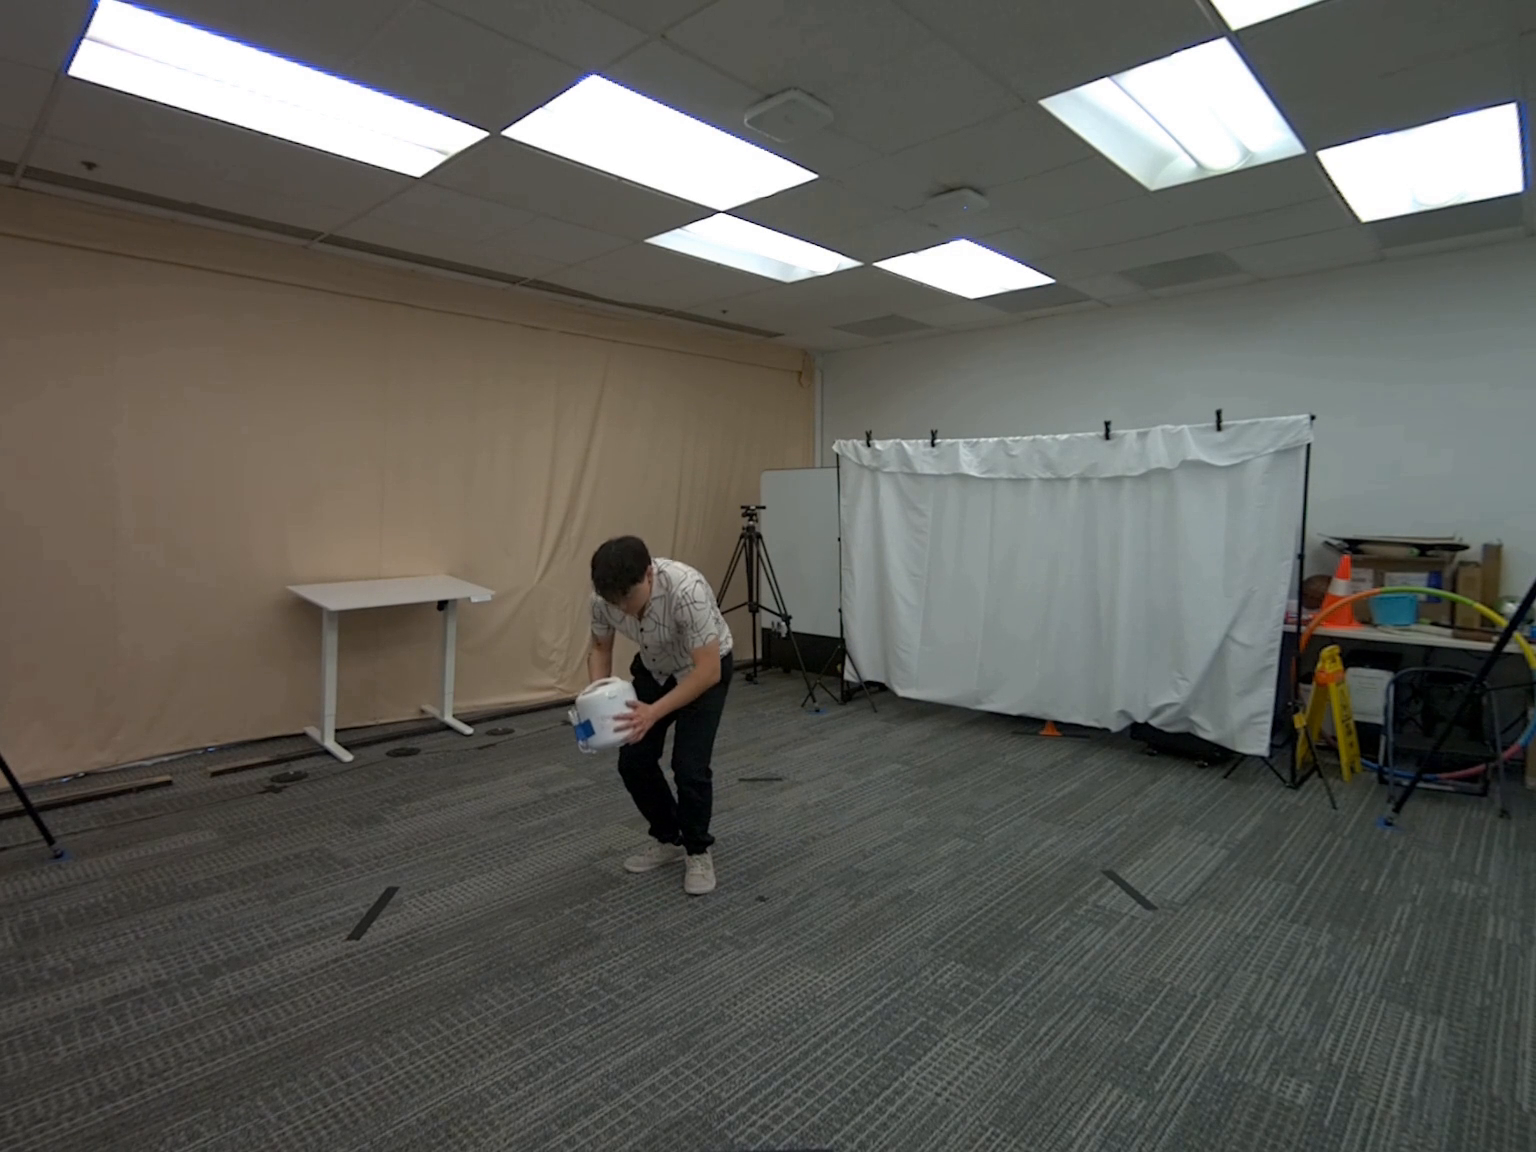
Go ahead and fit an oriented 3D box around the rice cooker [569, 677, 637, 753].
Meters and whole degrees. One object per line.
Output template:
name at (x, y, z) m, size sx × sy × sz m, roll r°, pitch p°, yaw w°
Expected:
rice cooker at (-0.544, 0.473, 2.907) m, size 0.225 × 0.234 × 0.212 m, roll -19°, pitch -6°, yaw 27°
